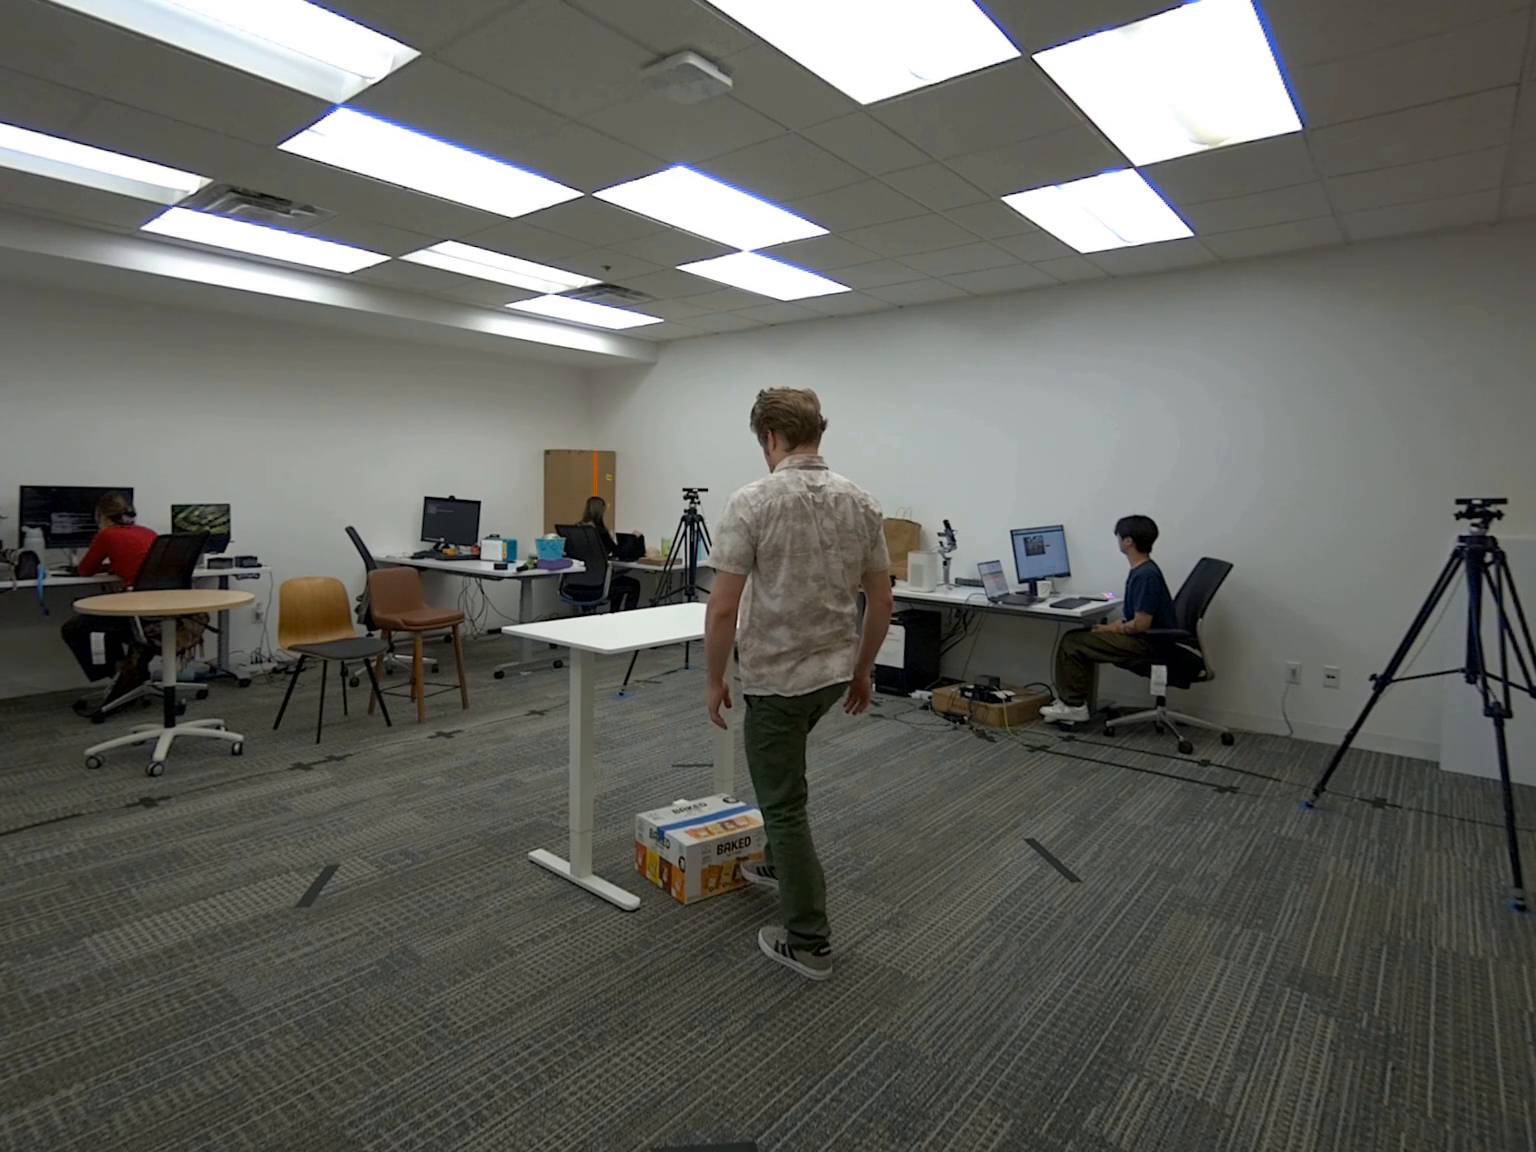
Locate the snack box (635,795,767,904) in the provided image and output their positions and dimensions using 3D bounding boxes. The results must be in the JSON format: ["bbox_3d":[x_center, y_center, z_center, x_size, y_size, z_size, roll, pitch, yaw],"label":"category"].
[{"bbox_3d":[-0.232,0.971,3.075,0.393,0.205,0.352,-3,6,-38],"label":"snack box"}]
